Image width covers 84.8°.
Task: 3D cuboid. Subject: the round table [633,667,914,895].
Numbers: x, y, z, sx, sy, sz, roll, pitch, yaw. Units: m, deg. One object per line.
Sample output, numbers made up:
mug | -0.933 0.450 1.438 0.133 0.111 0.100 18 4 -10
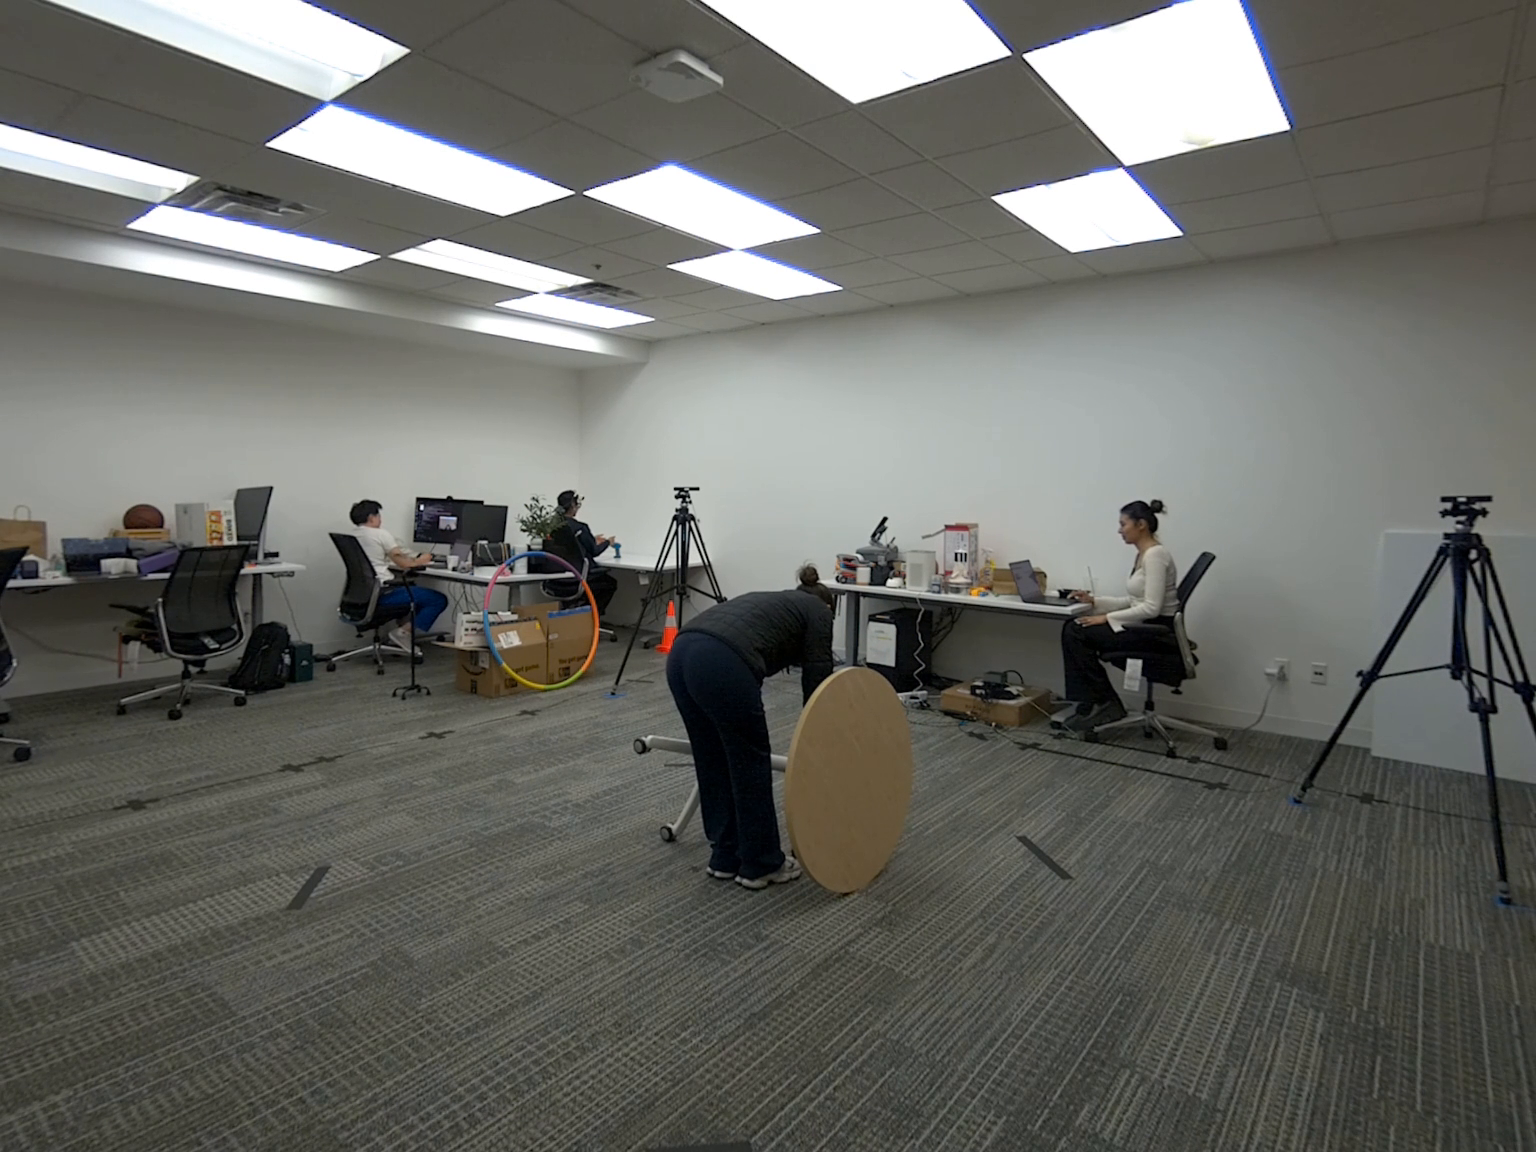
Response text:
round table | 0.012 0.718 3.259 0.810 0.785 0.762 -3 1 40
